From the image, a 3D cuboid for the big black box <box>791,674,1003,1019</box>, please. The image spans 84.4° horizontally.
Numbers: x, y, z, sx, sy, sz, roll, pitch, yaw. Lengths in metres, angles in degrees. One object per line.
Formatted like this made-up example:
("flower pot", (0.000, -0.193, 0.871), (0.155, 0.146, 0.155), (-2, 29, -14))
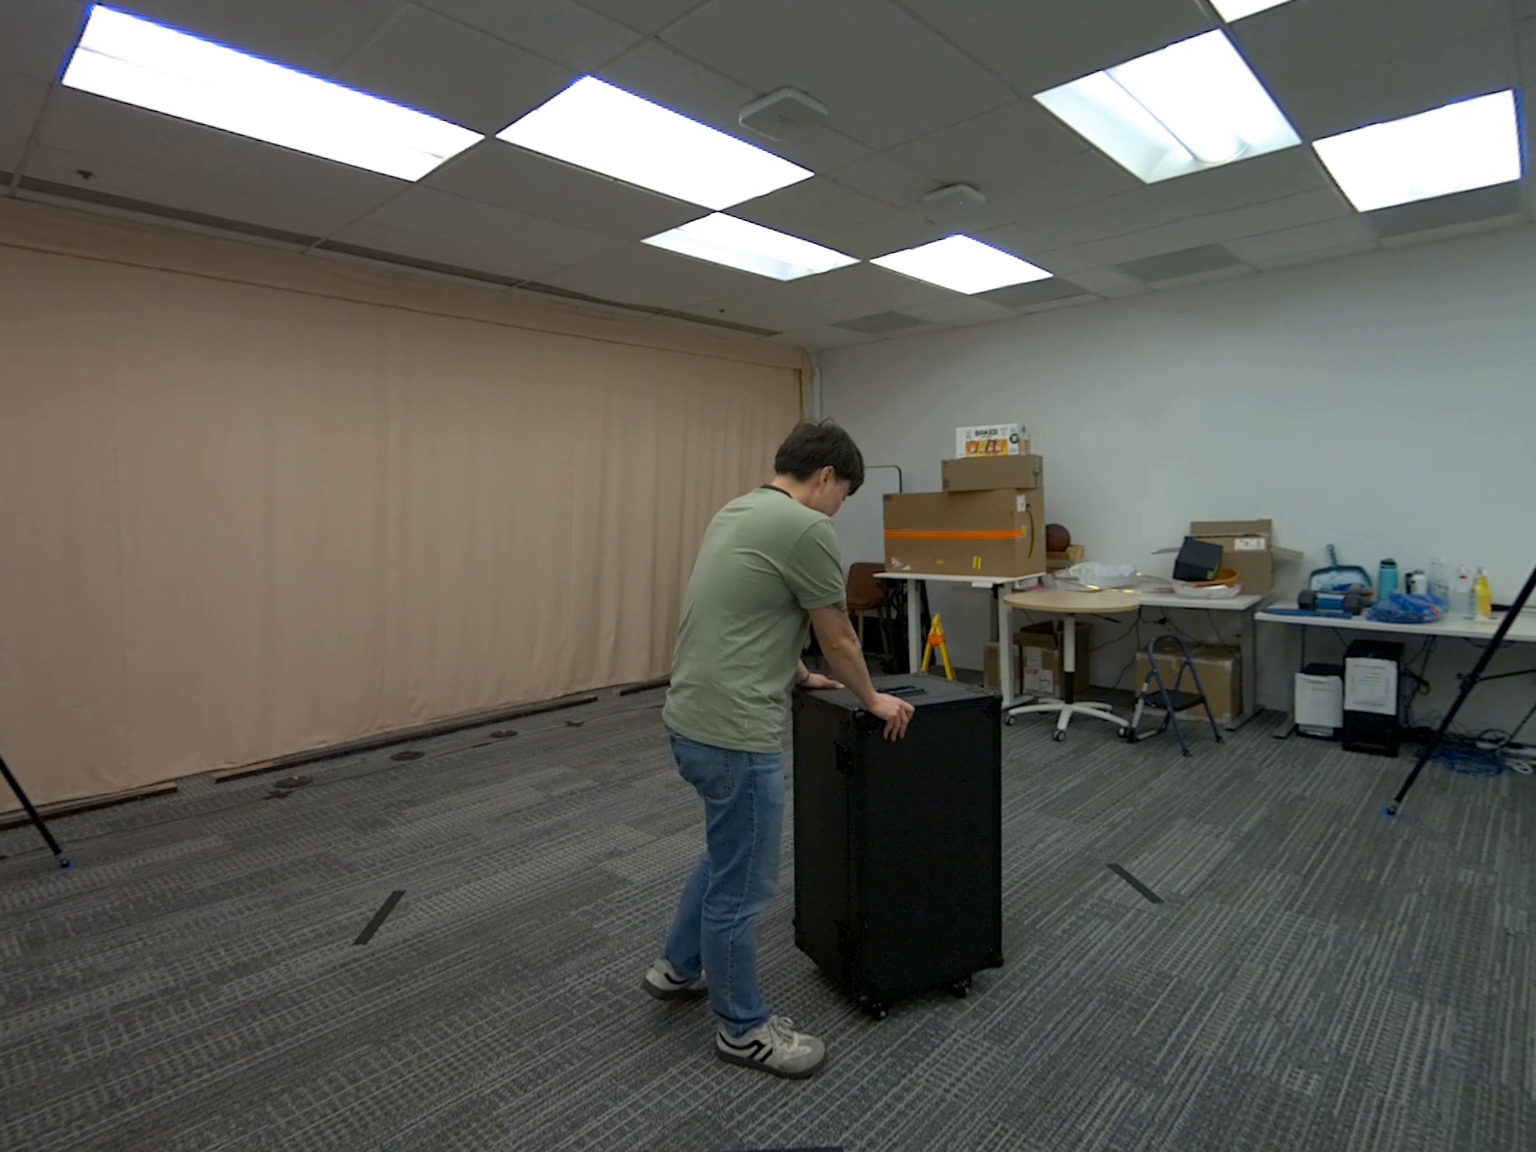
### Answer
("big black box", (0.369, 0.758, 2.452), (0.509, 0.860, 0.406), (-3, 2, -24))
